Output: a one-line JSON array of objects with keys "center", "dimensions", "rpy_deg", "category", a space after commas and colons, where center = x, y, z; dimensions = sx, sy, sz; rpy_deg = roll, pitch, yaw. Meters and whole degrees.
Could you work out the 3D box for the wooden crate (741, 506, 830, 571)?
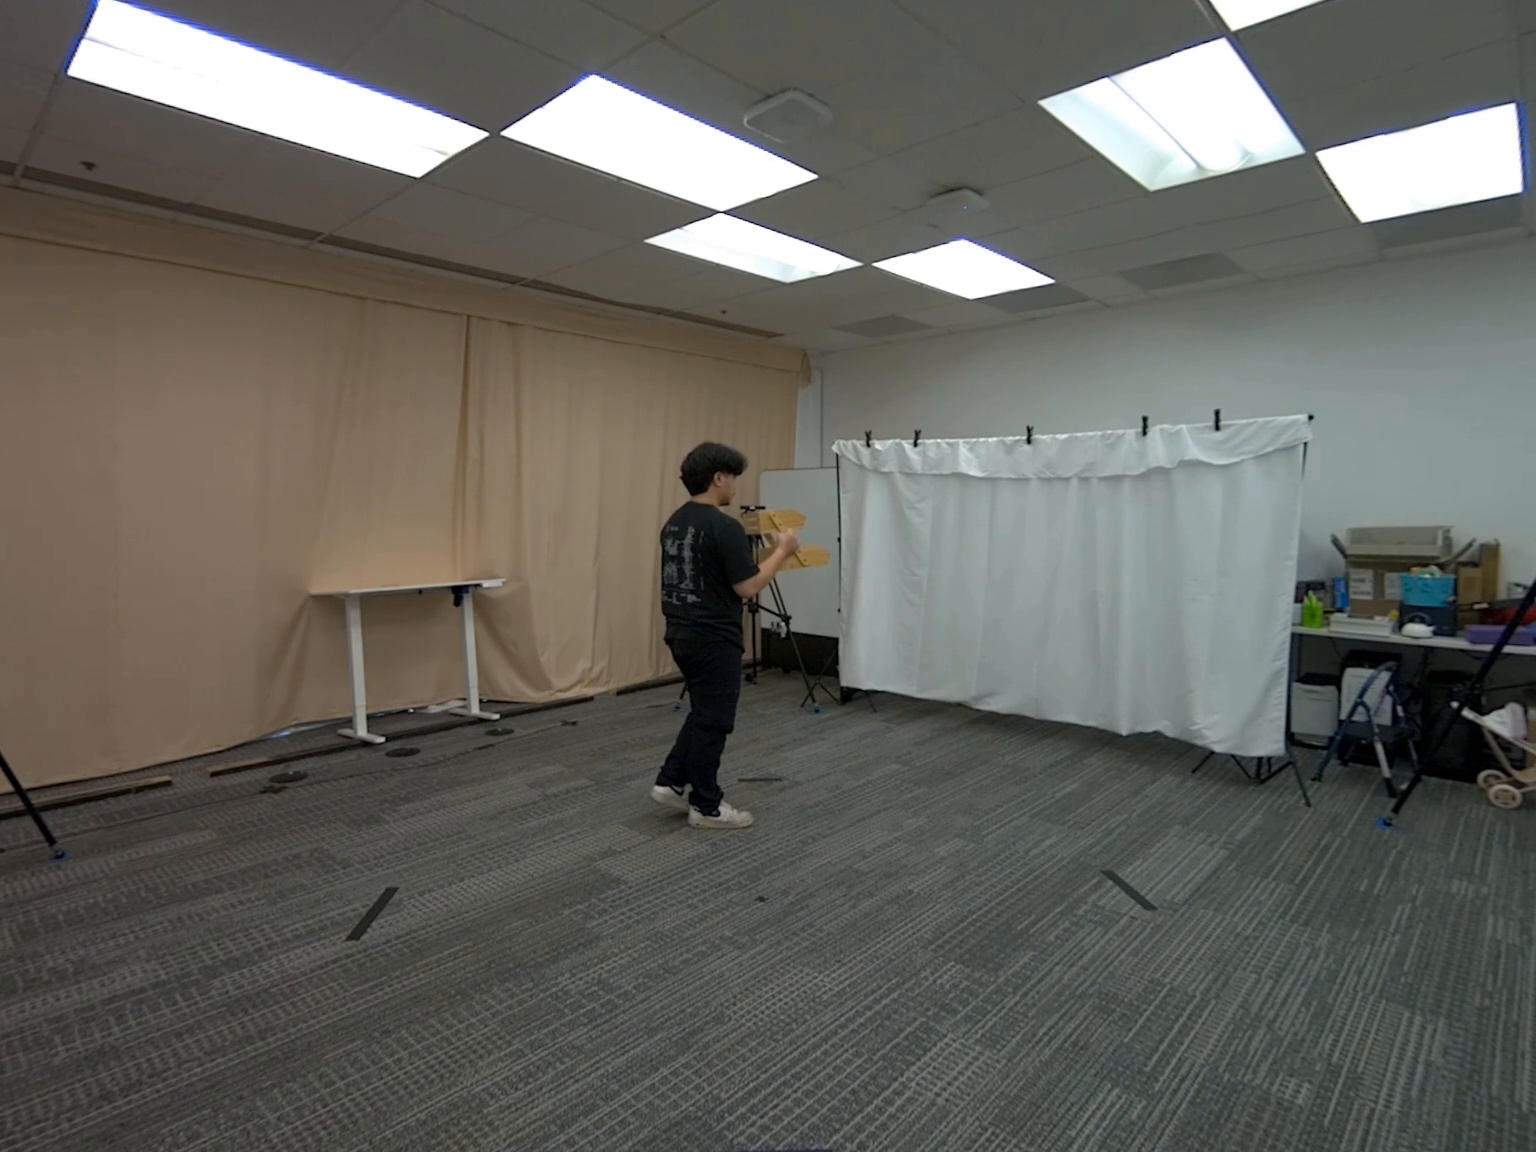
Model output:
[{"center": [0.083, -0.177, 3.771], "dimensions": [0.298, 0.272, 0.329], "rpy_deg": [-9, 5, -13], "category": "wooden crate"}]
